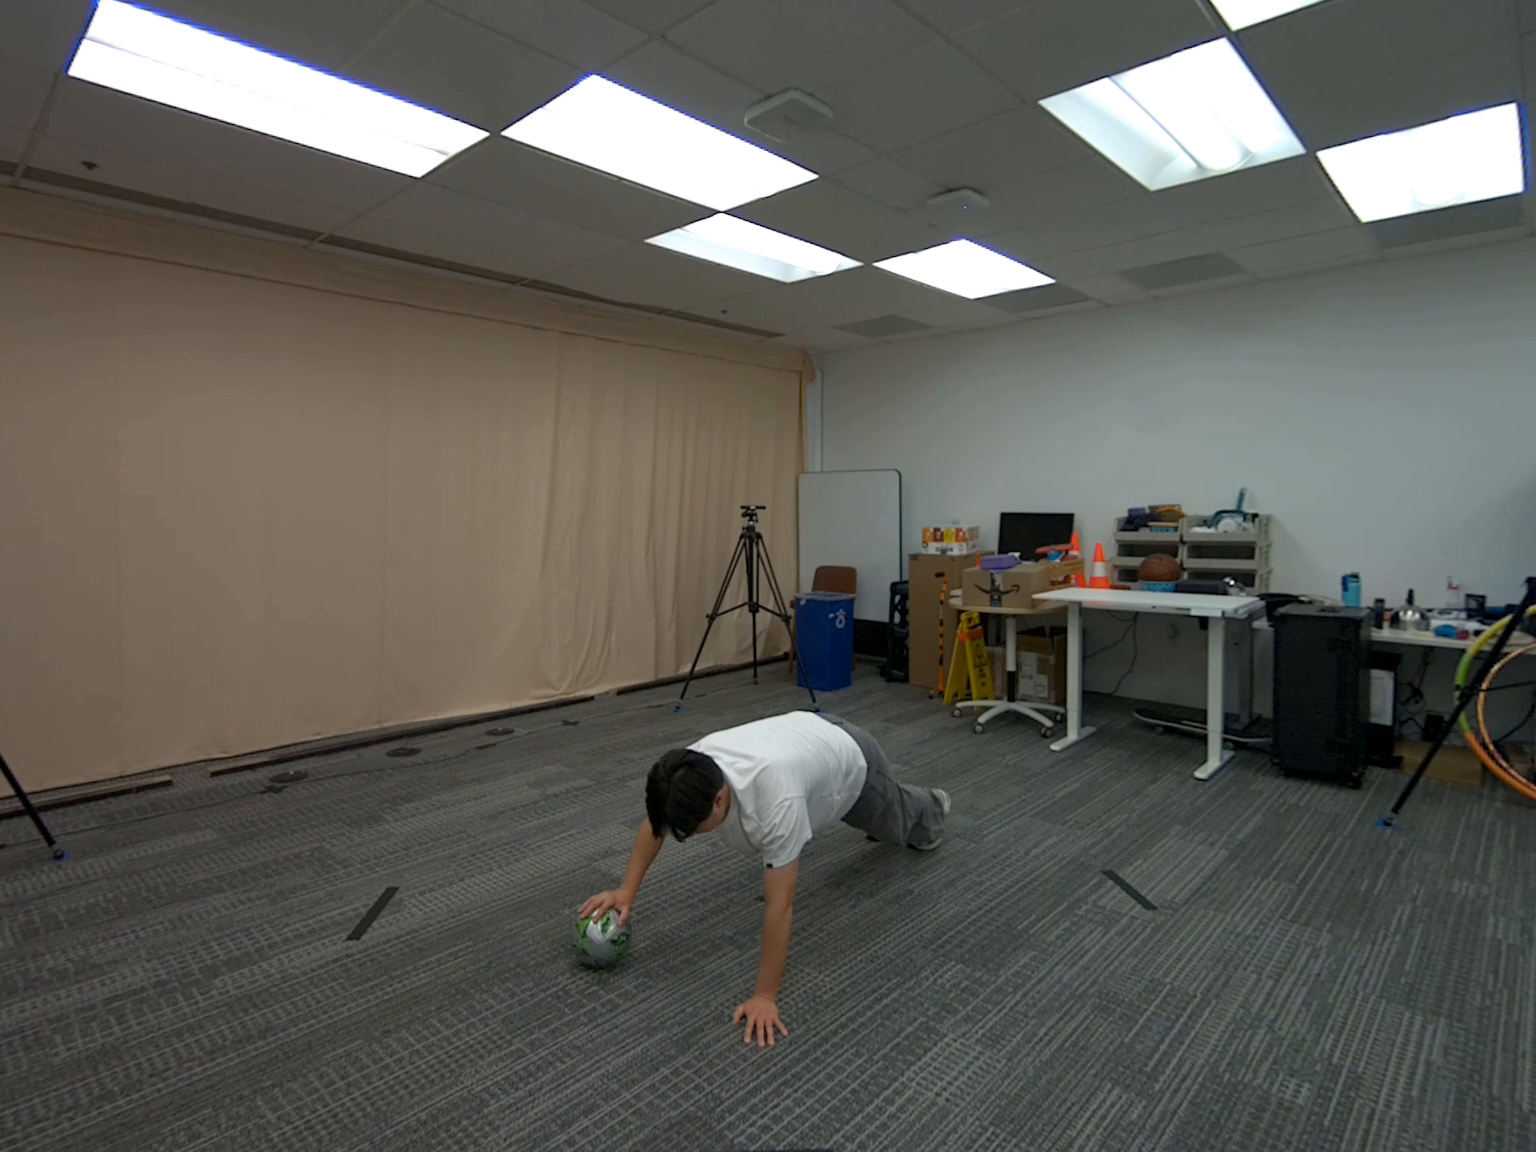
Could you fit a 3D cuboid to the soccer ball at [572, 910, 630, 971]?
[{"bbox_3d":[-0.494,1.091,2.565,0.187,0.187,0.188,0,4,-2],"label":"soccer ball"}]
